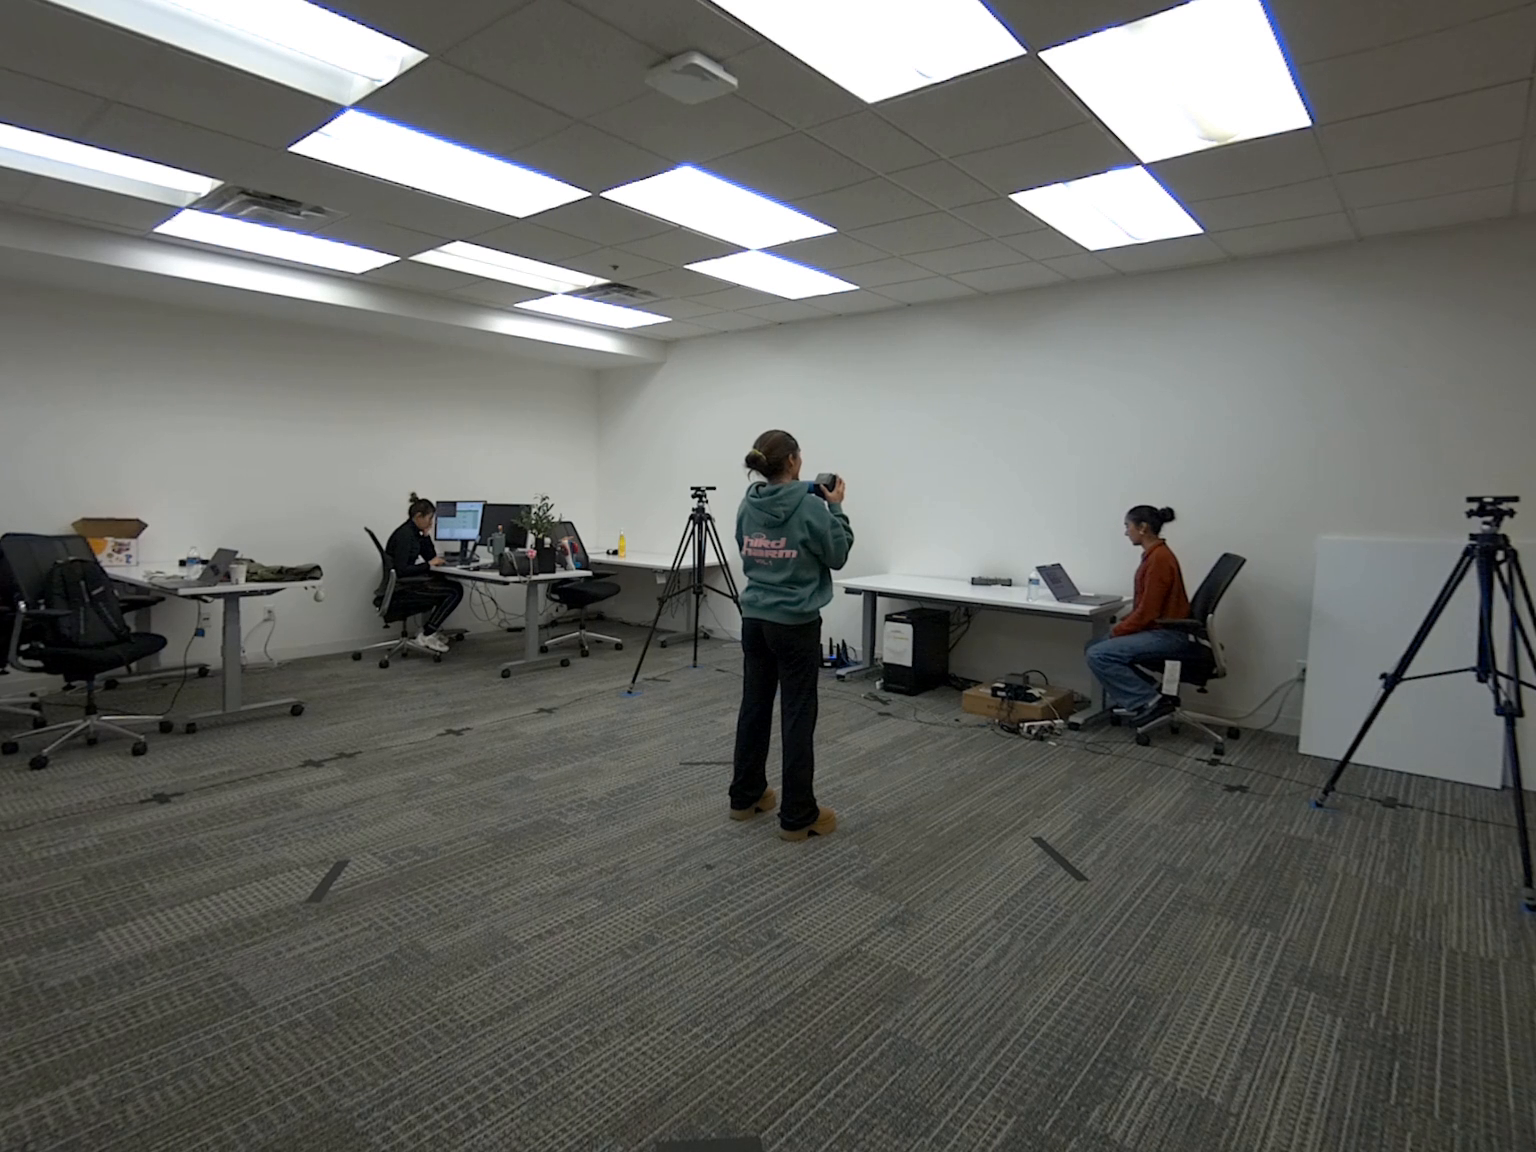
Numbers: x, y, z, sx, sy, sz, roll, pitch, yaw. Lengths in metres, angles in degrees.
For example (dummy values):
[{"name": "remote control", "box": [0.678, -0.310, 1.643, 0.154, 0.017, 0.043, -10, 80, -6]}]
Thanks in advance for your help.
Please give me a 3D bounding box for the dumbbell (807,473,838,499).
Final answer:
[{"name": "dumbbell", "box": [0.156, -0.379, 3.632, 0.303, 0.124, 0.104, 5, -35, 42]}]
